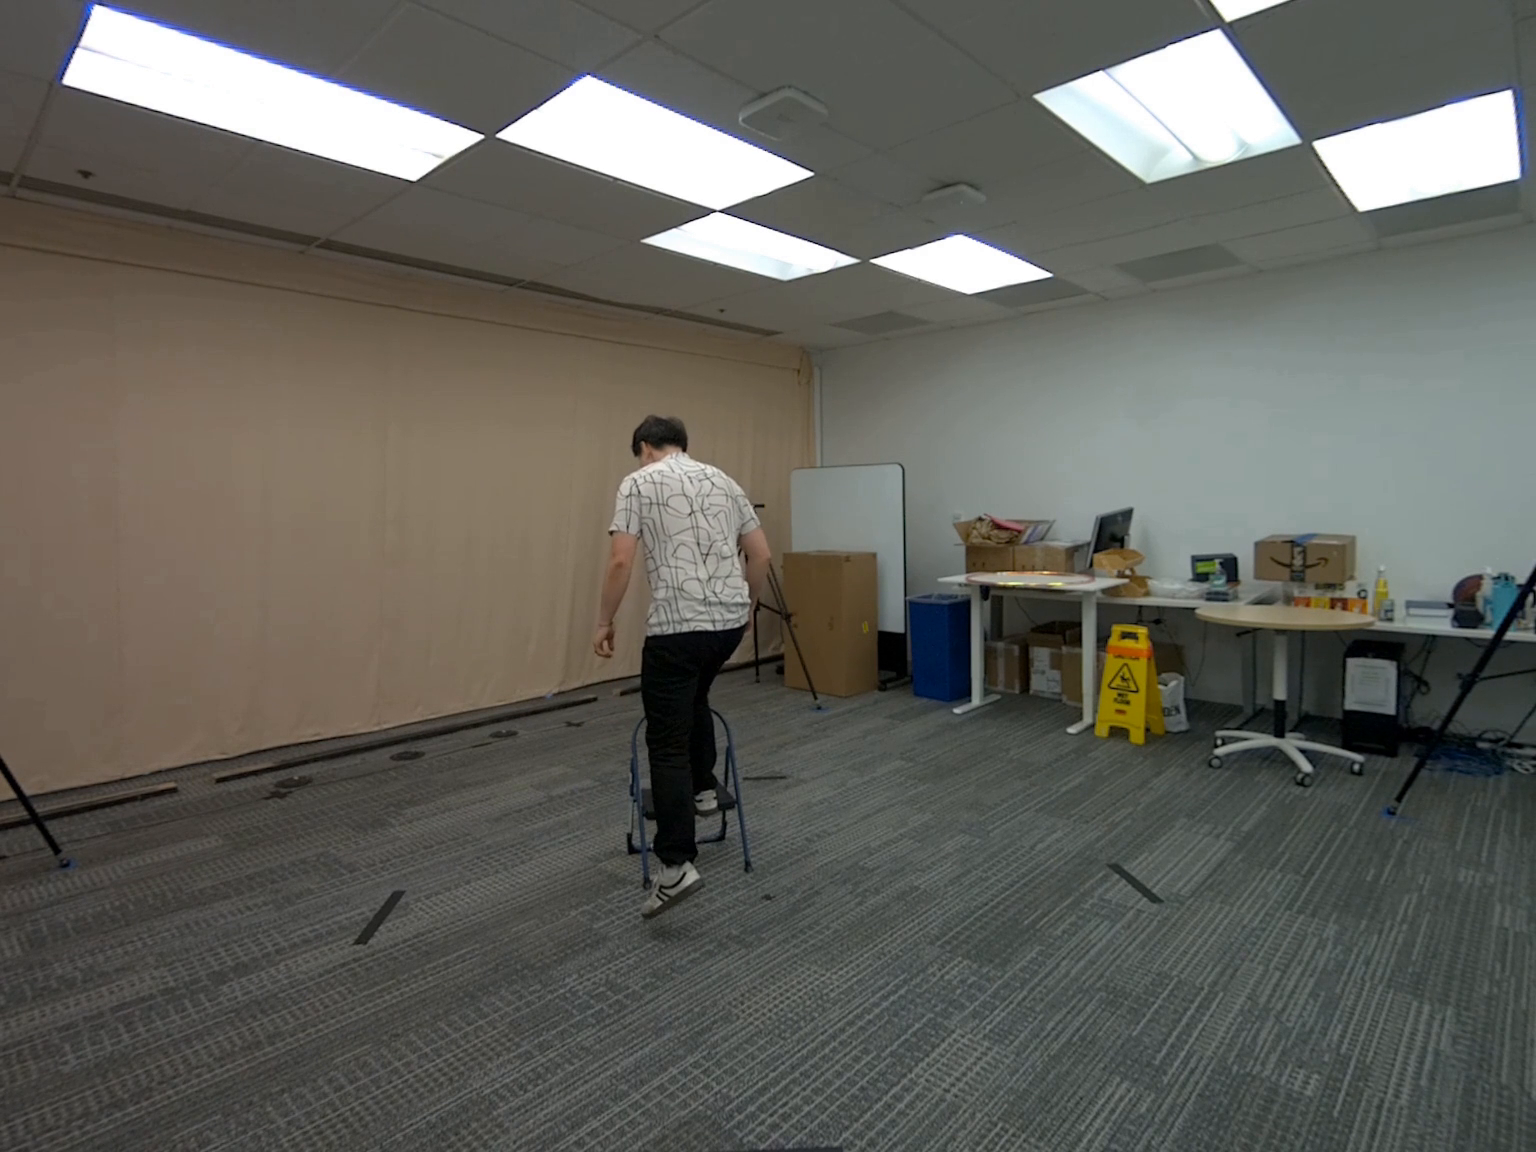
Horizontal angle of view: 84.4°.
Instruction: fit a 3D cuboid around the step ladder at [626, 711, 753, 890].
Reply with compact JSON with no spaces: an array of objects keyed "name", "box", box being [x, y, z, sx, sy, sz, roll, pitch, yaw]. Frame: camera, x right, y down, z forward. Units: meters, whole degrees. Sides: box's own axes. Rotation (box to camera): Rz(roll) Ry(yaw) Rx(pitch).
[{"name":"step ladder","box":[-0.319,0.819,3.284,0.422,0.605,0.357,-2,3,-20]}]
